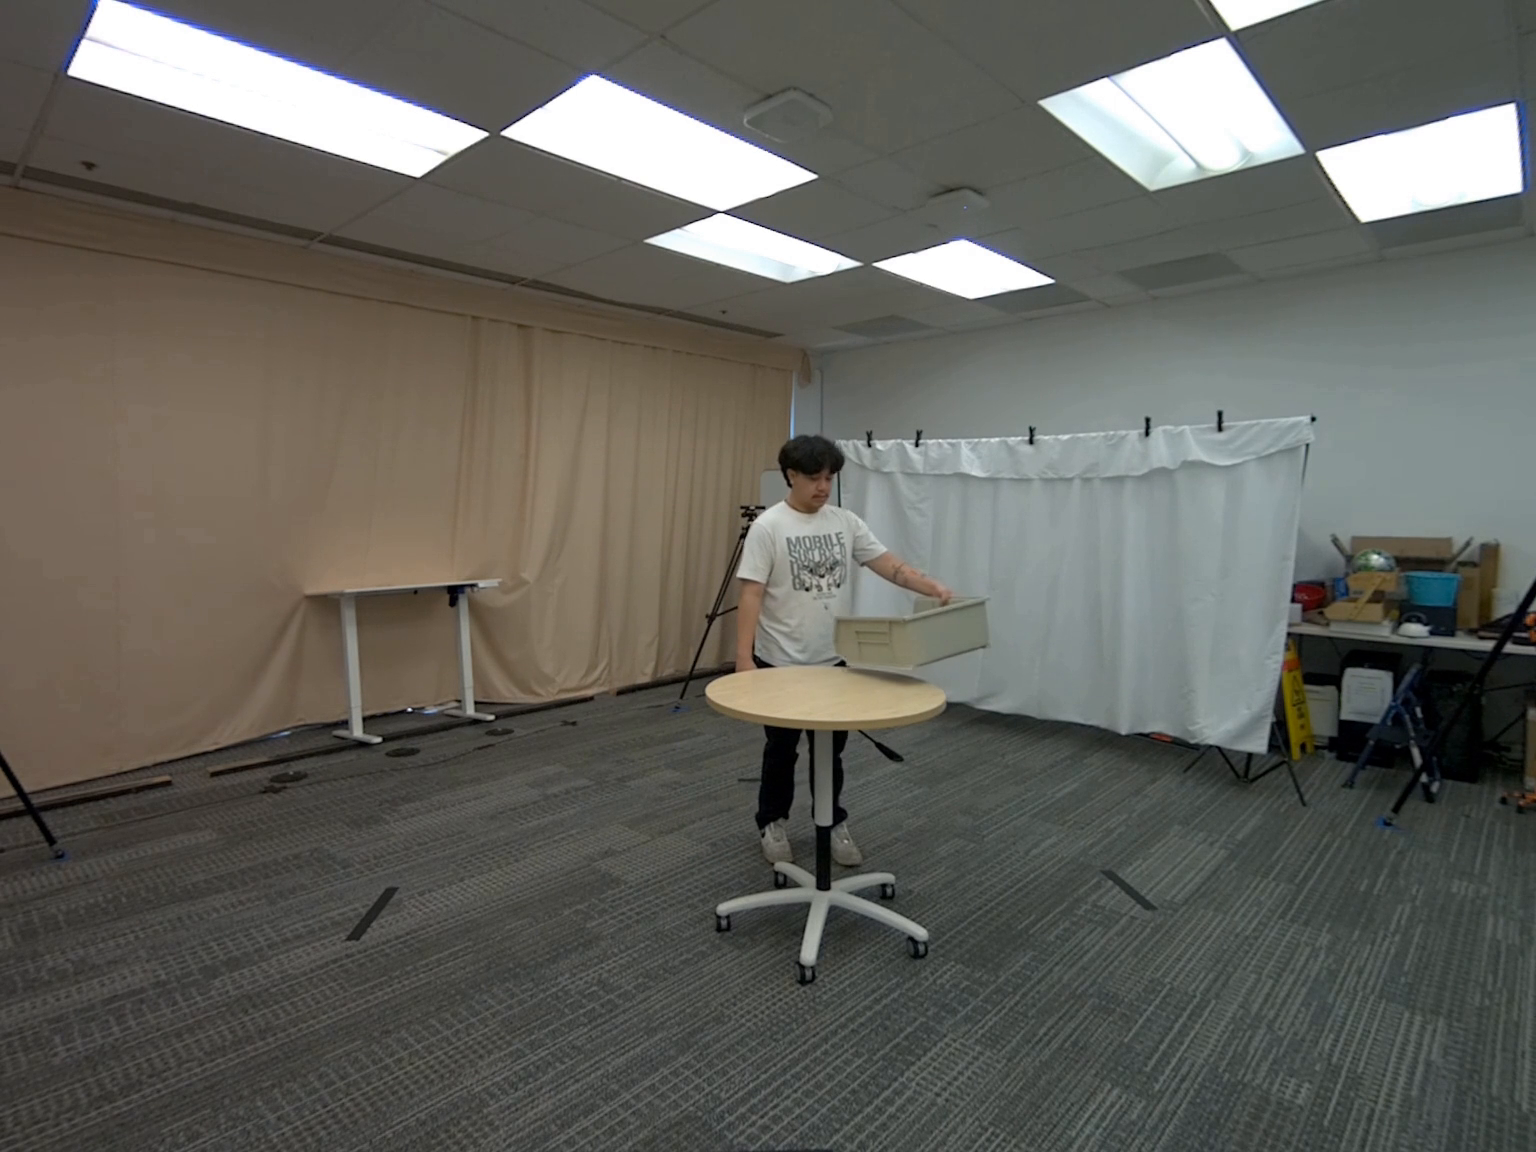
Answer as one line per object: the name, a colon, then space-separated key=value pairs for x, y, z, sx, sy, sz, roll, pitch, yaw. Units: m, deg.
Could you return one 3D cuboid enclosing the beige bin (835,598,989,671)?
beige bin: x=0.500 y=0.198 z=2.991 sx=0.411 sy=0.188 sz=0.388 roll=-10 pitch=5 yaw=-35
